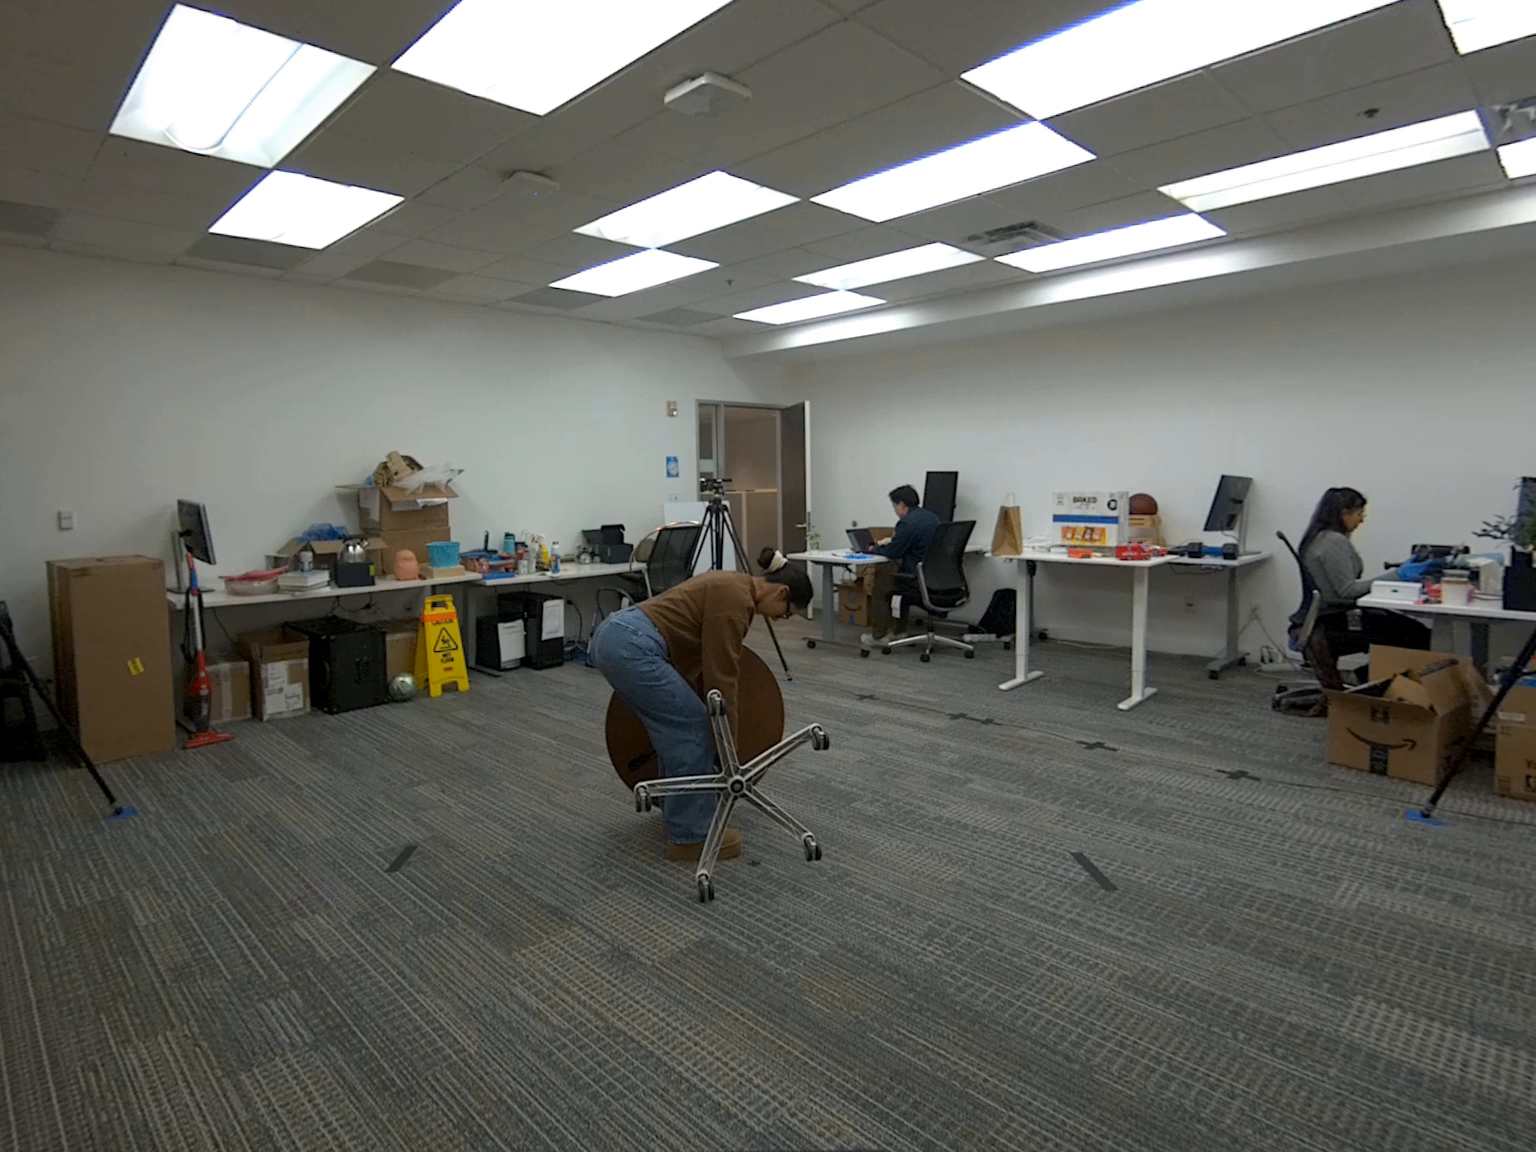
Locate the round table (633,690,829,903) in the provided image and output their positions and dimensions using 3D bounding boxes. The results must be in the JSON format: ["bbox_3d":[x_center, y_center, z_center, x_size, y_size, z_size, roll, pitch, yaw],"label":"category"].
[{"bbox_3d":[-0.192,0.680,3.193,0.754,0.759,0.810,-2,8,-14],"label":"round table"}]
